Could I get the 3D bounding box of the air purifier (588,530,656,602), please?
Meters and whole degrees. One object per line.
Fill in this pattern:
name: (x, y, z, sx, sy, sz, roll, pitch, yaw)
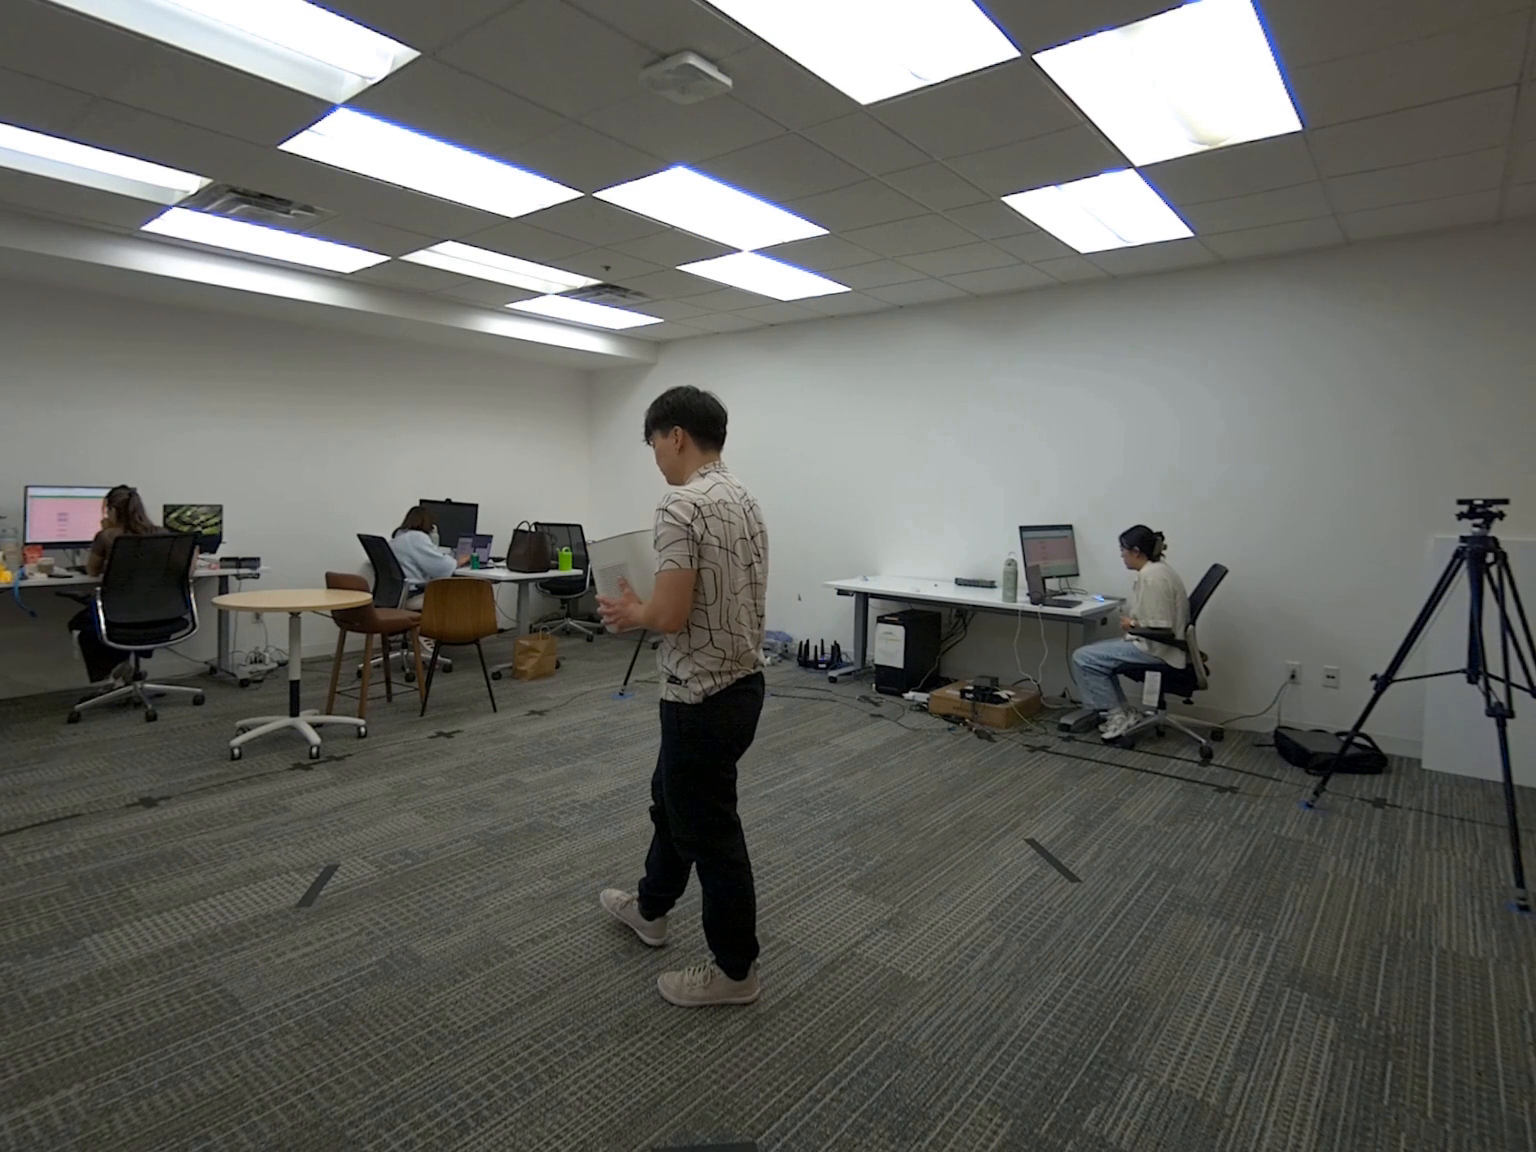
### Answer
air purifier: (-0.398, 0.019, 2.420, 0.174, 0.266, 0.168, -14, -3, 21)
